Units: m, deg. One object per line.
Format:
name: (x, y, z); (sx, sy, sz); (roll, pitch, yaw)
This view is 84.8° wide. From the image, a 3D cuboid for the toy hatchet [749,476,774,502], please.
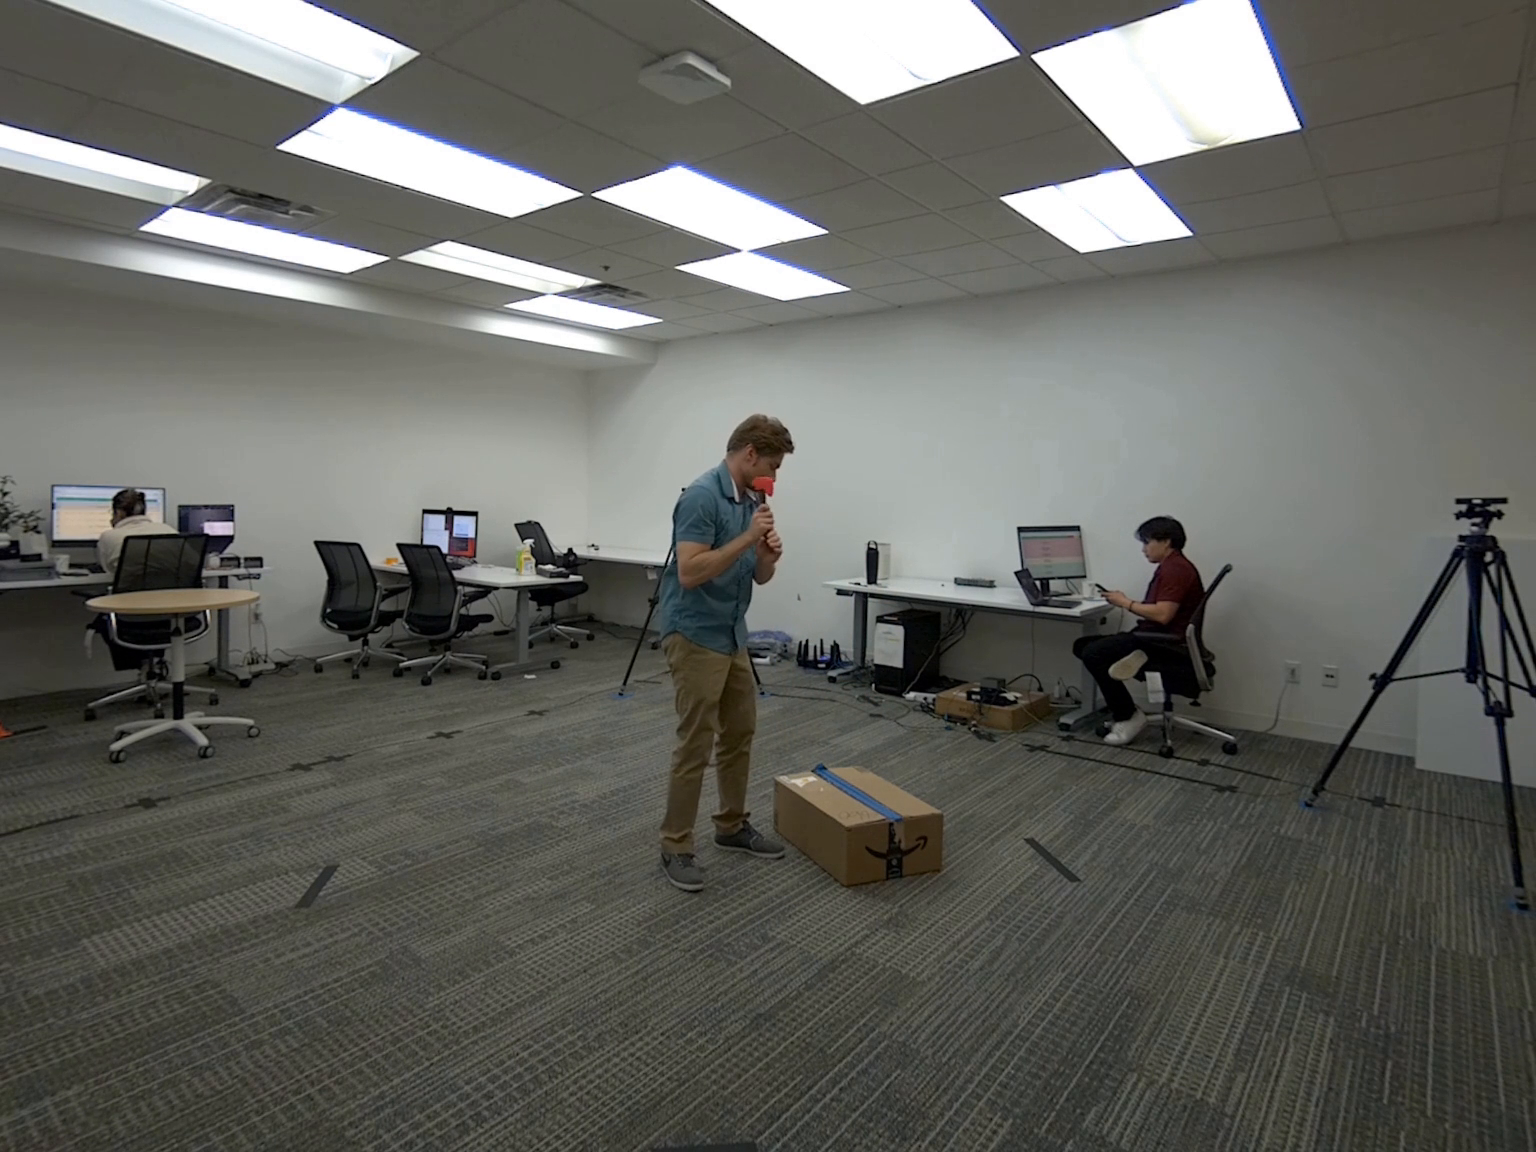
toy hatchet: (0.001, -0.219, 2.903); (0.029, 0.275, 0.132); (-1, -20, -33)
